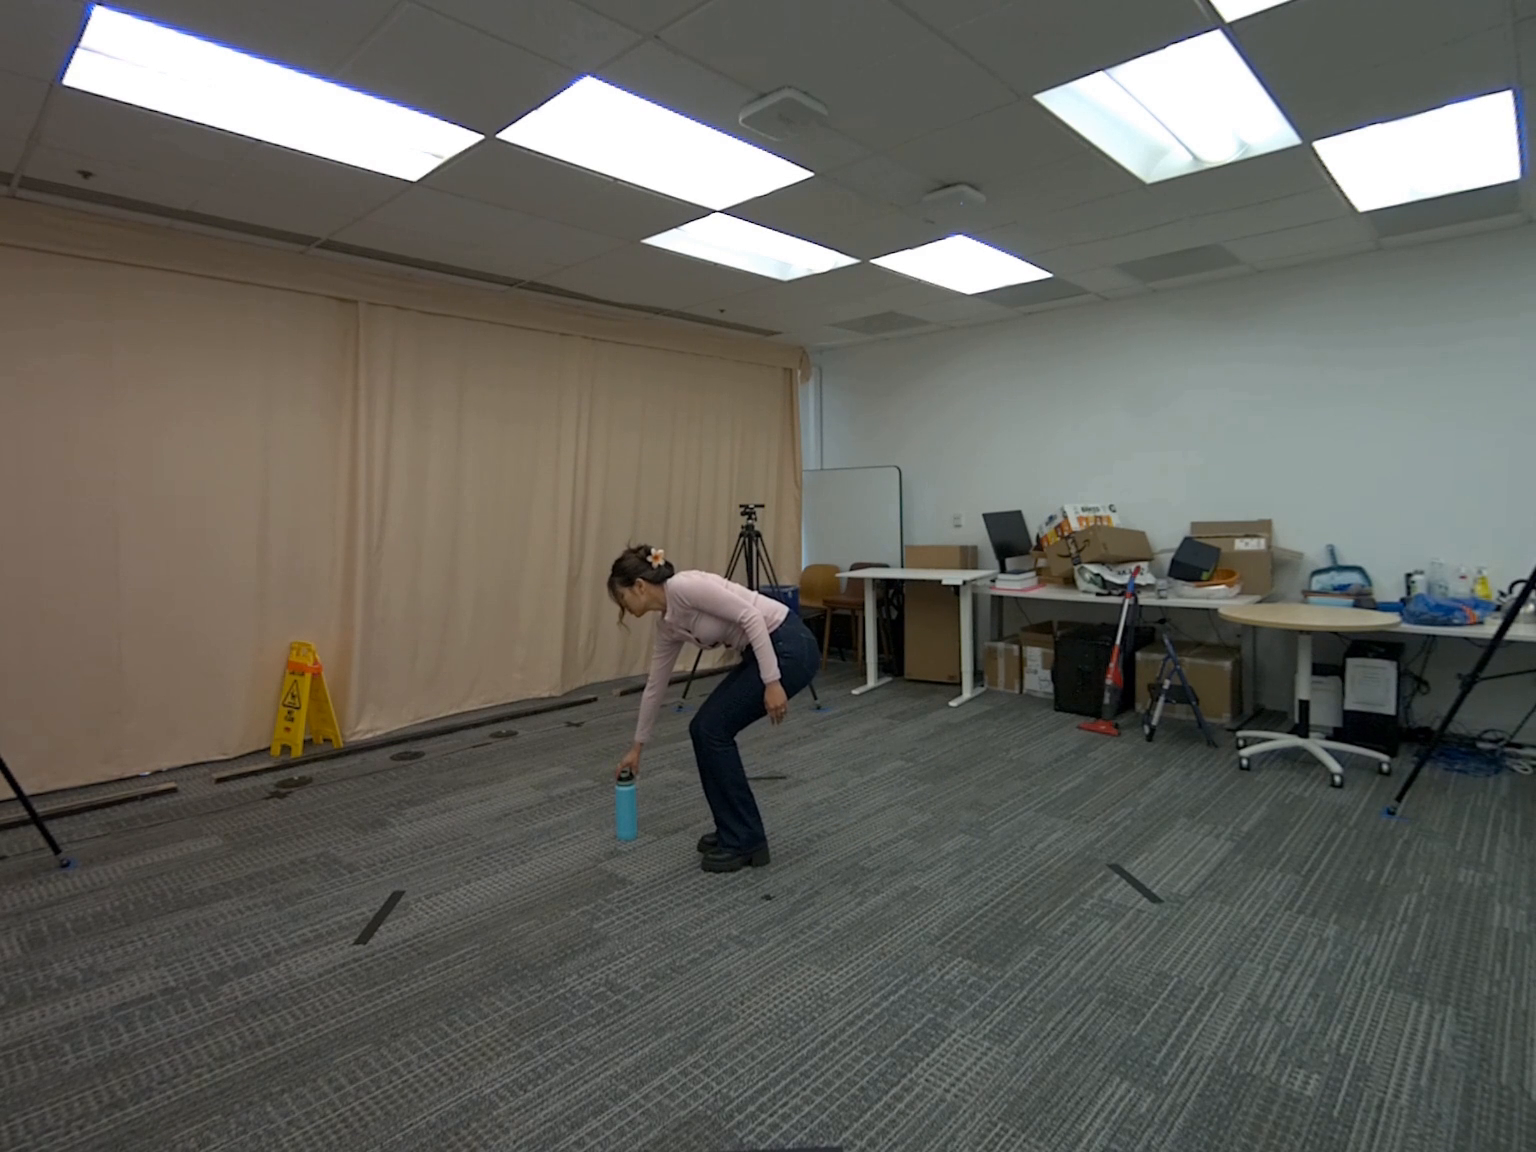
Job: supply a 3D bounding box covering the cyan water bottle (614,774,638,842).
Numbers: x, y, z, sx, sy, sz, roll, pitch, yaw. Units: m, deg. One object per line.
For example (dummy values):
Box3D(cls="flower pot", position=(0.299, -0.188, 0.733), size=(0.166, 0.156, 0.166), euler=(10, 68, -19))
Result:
Box3D(cls="cyan water bottle", position=(-0.601, 0.961, 3.561), size=(0.092, 0.283, 0.092), euler=(1, 3, -2))
